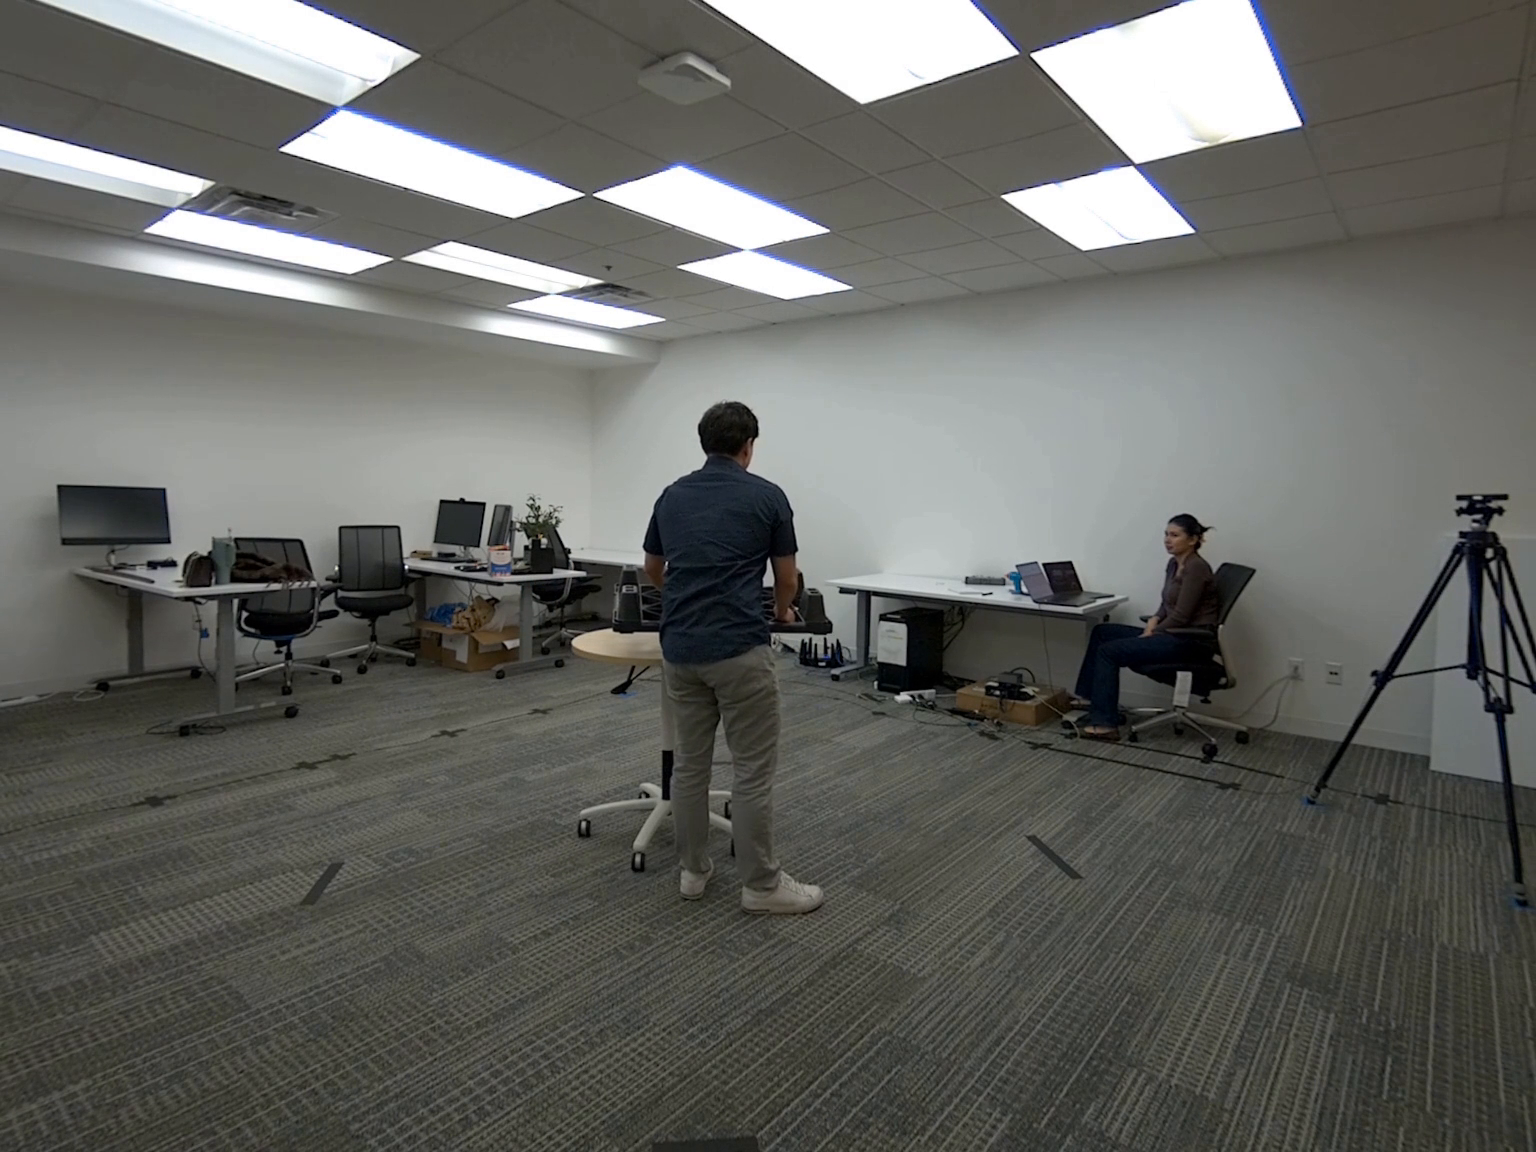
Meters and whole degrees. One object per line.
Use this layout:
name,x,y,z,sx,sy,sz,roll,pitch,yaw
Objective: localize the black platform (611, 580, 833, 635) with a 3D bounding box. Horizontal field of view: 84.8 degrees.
black platform,-0.202,0.079,3.327,0.799,0.142,0.617,1,14,-8
